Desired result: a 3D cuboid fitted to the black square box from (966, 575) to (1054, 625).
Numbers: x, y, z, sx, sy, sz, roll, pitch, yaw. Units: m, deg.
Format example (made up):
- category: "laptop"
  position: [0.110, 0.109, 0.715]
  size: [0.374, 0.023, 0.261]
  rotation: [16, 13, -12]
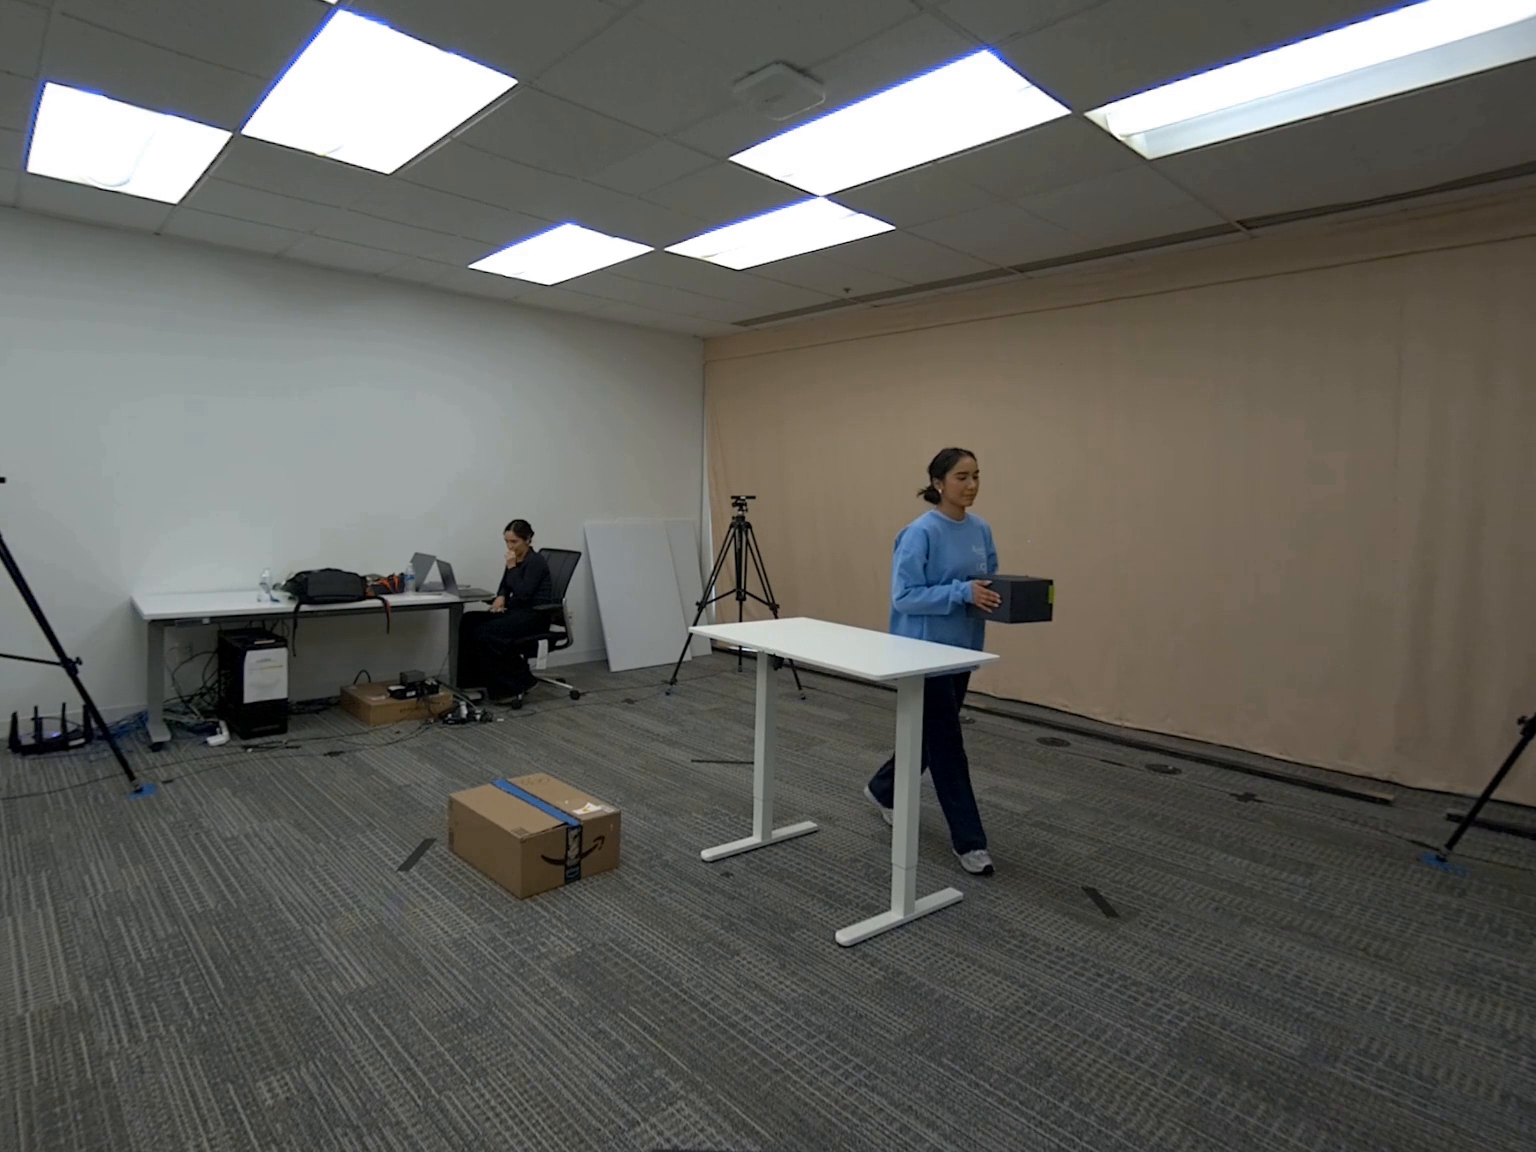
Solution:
- category: "black square box"
  position: [0.890, 0.074, 3.138]
  size: [0.213, 0.156, 0.232]
  rotation: [-1, 3, -28]
